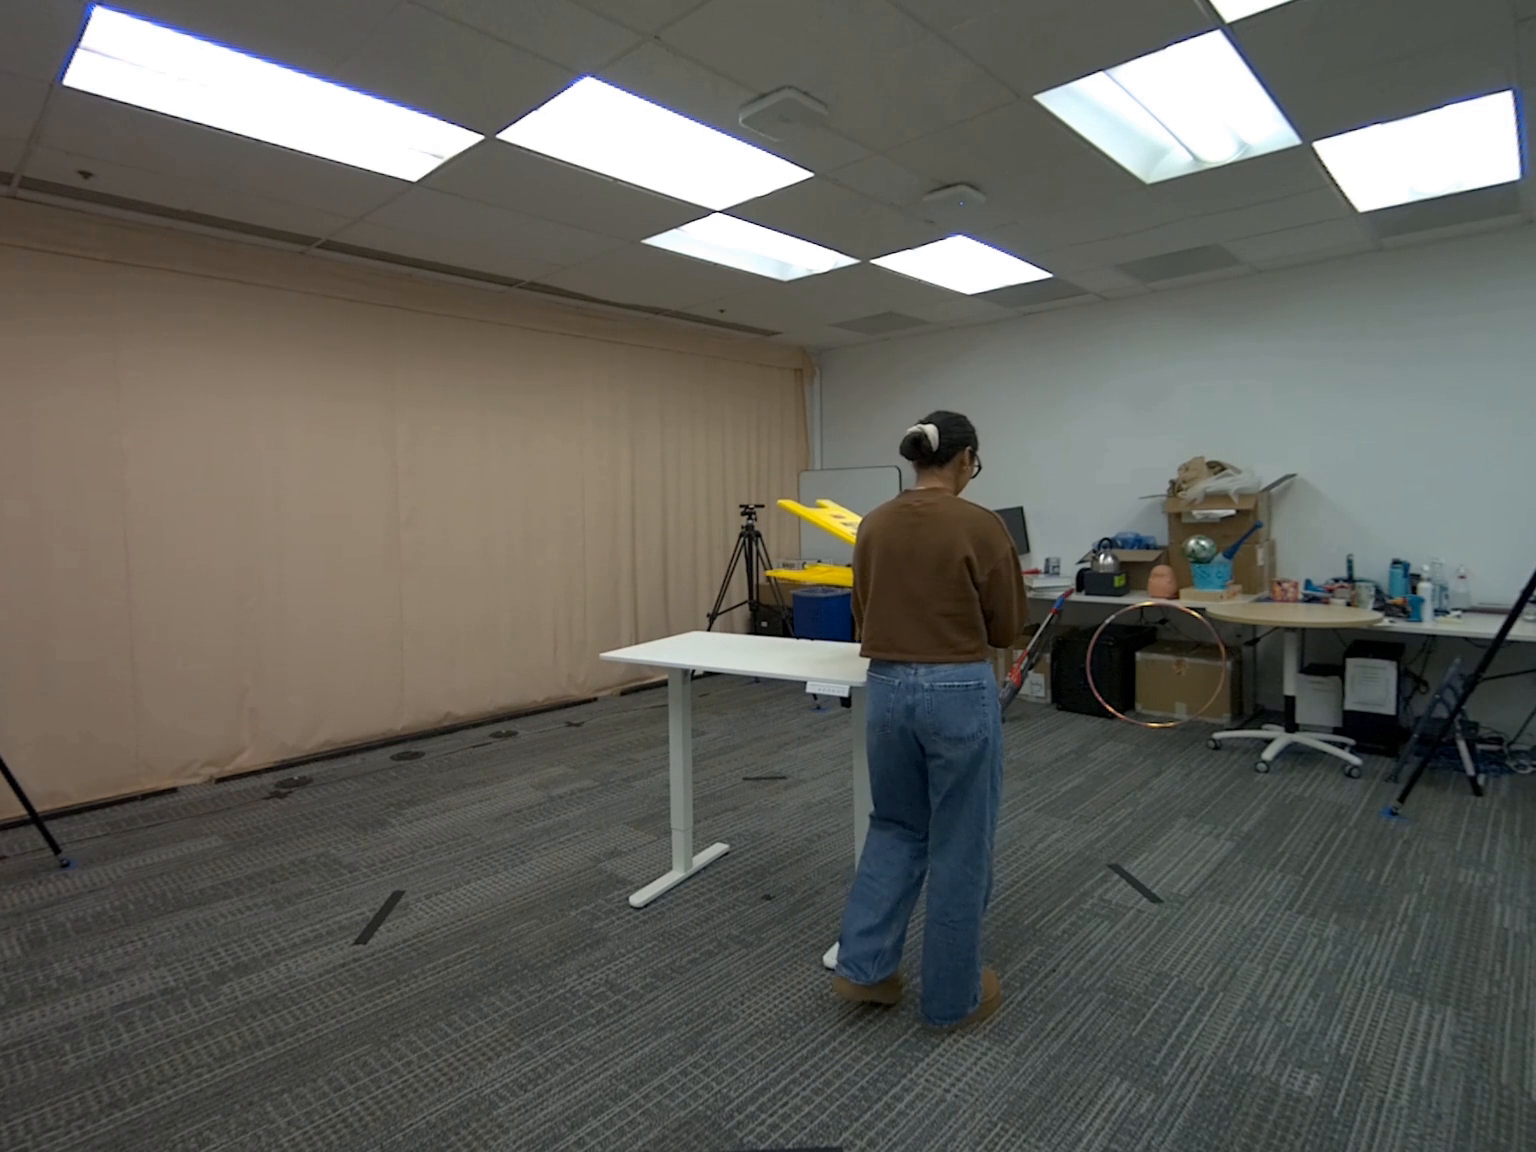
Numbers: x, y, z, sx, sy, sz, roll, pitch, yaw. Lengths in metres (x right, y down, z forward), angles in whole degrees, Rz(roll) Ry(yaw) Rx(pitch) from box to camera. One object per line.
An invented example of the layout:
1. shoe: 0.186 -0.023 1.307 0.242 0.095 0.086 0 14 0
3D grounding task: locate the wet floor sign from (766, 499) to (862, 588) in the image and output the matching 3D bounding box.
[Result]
1. wet floor sign: 0.357 -0.043 2.680 0.669 0.288 0.274 18 16 40
